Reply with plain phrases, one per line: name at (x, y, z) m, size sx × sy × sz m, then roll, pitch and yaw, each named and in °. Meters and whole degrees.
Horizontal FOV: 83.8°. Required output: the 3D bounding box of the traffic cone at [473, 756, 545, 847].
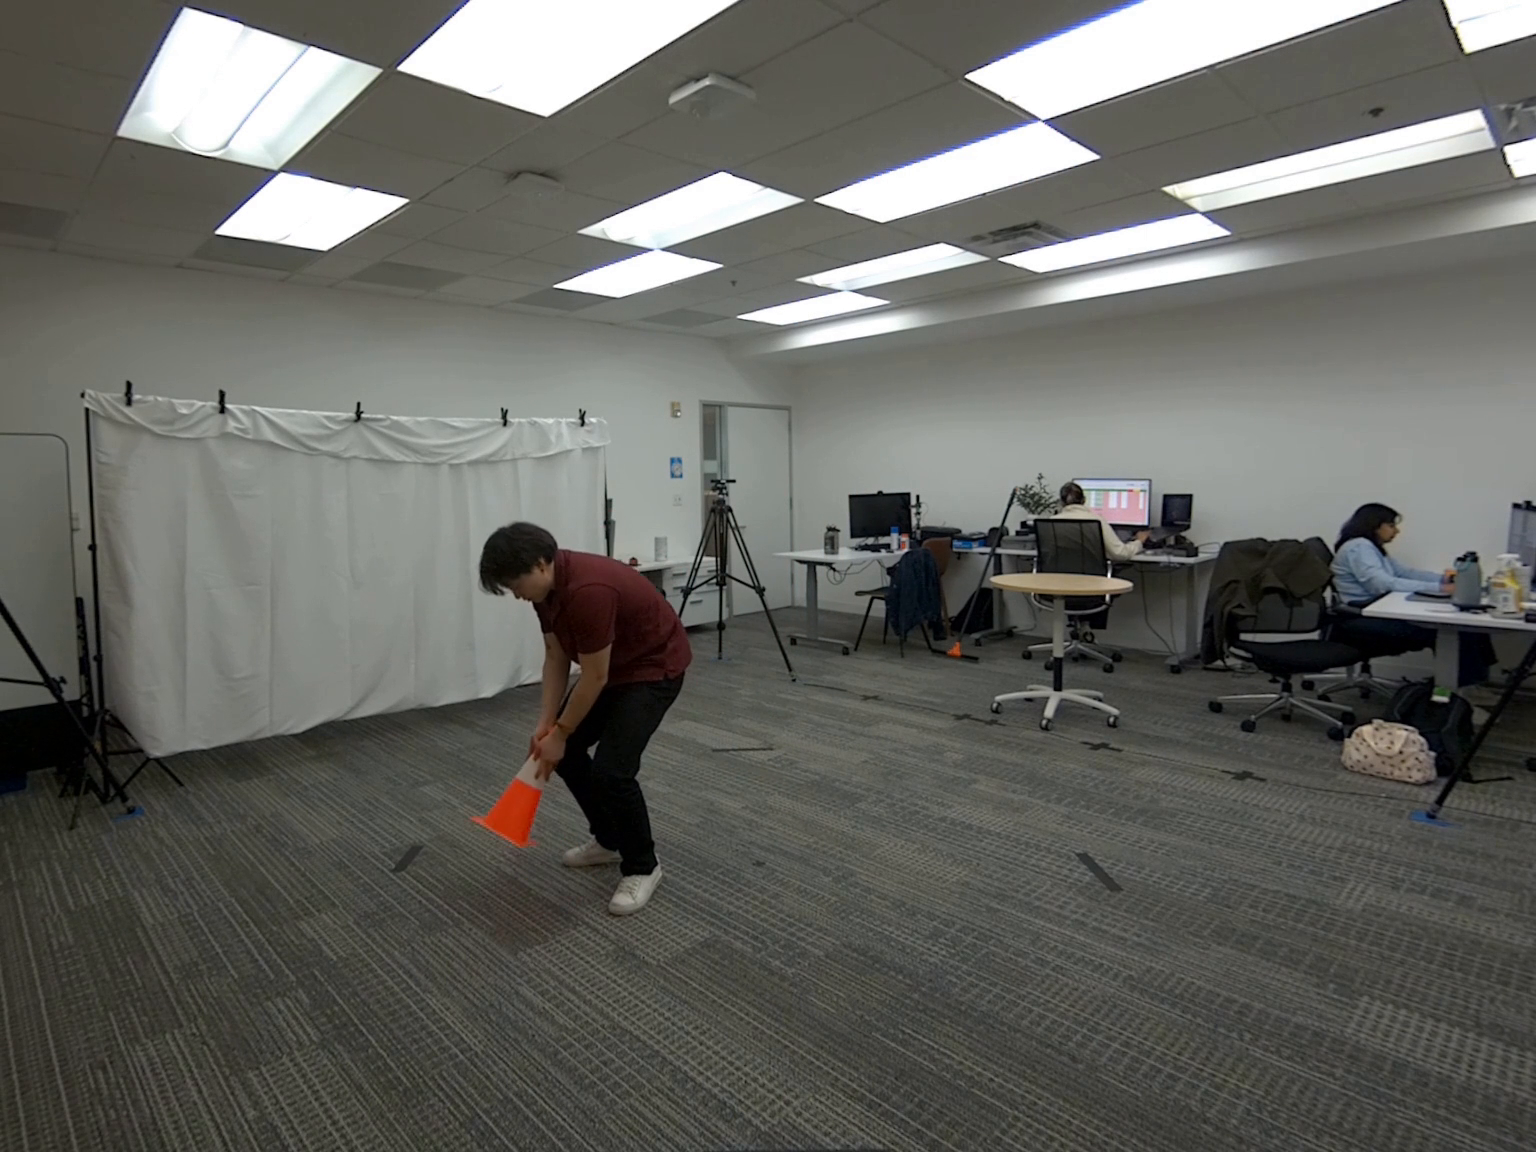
traffic cone at (-0.778, 0.673, 2.856) m, size 0.208 × 0.386 × 0.198 m, roll 16°, pitch -14°, yaw 21°
